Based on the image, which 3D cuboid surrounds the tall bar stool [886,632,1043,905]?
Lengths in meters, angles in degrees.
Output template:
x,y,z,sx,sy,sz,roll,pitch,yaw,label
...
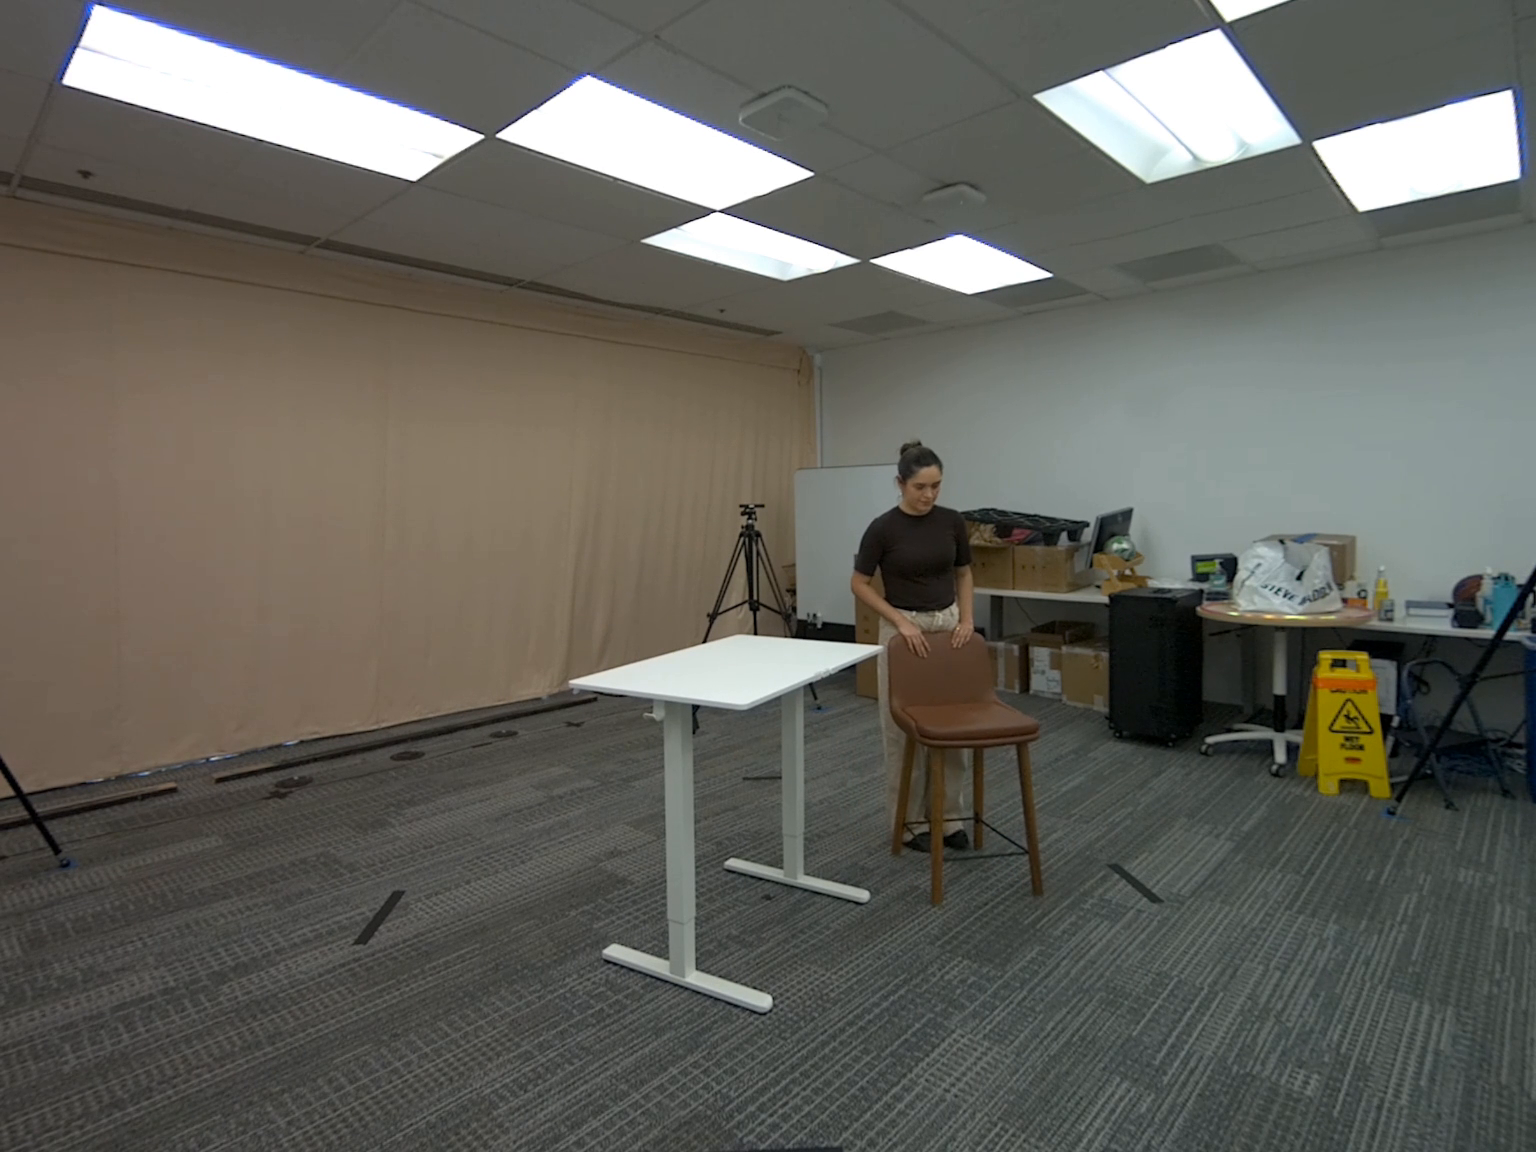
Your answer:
x,y,z,sx,sy,sz,roll,pitch,yaw,label
0.718,0.672,3.126,0.452,0.889,0.472,-1,1,-10,tall bar stool
